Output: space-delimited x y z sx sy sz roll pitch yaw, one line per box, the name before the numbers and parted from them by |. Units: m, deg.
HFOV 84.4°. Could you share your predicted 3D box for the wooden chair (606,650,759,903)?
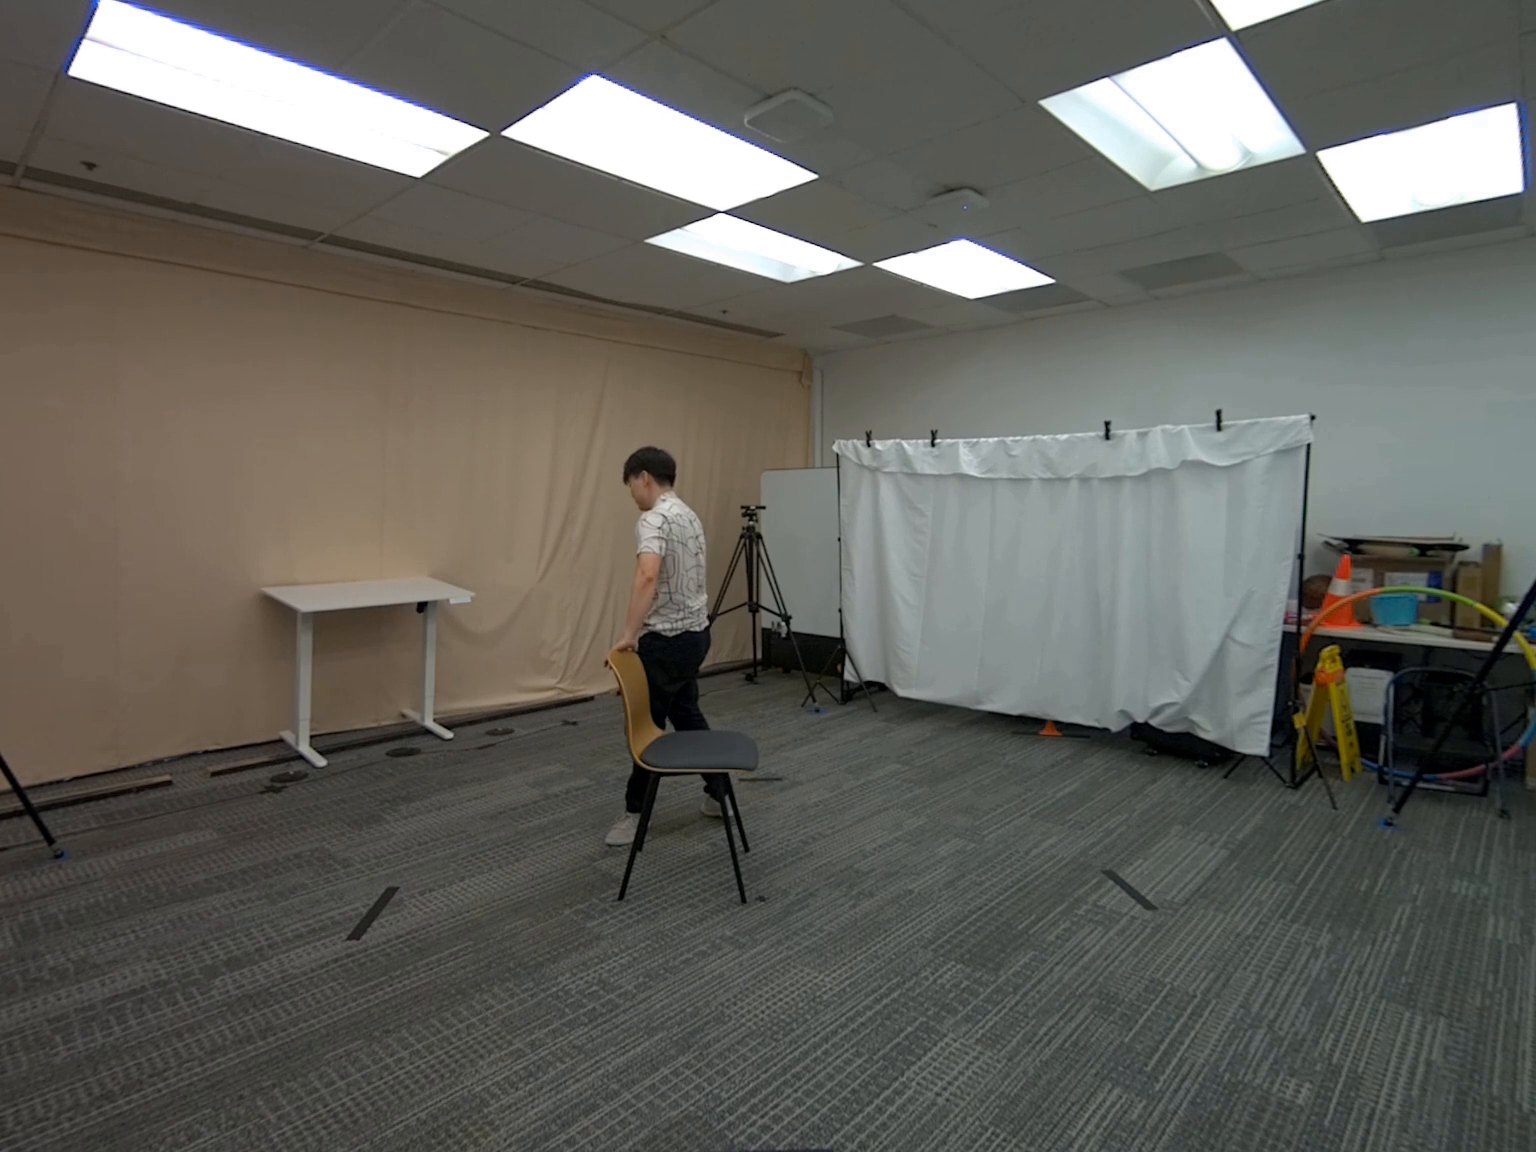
wooden chair | -0.296 0.708 3.149 0.525 0.876 0.478 -4 3 2
